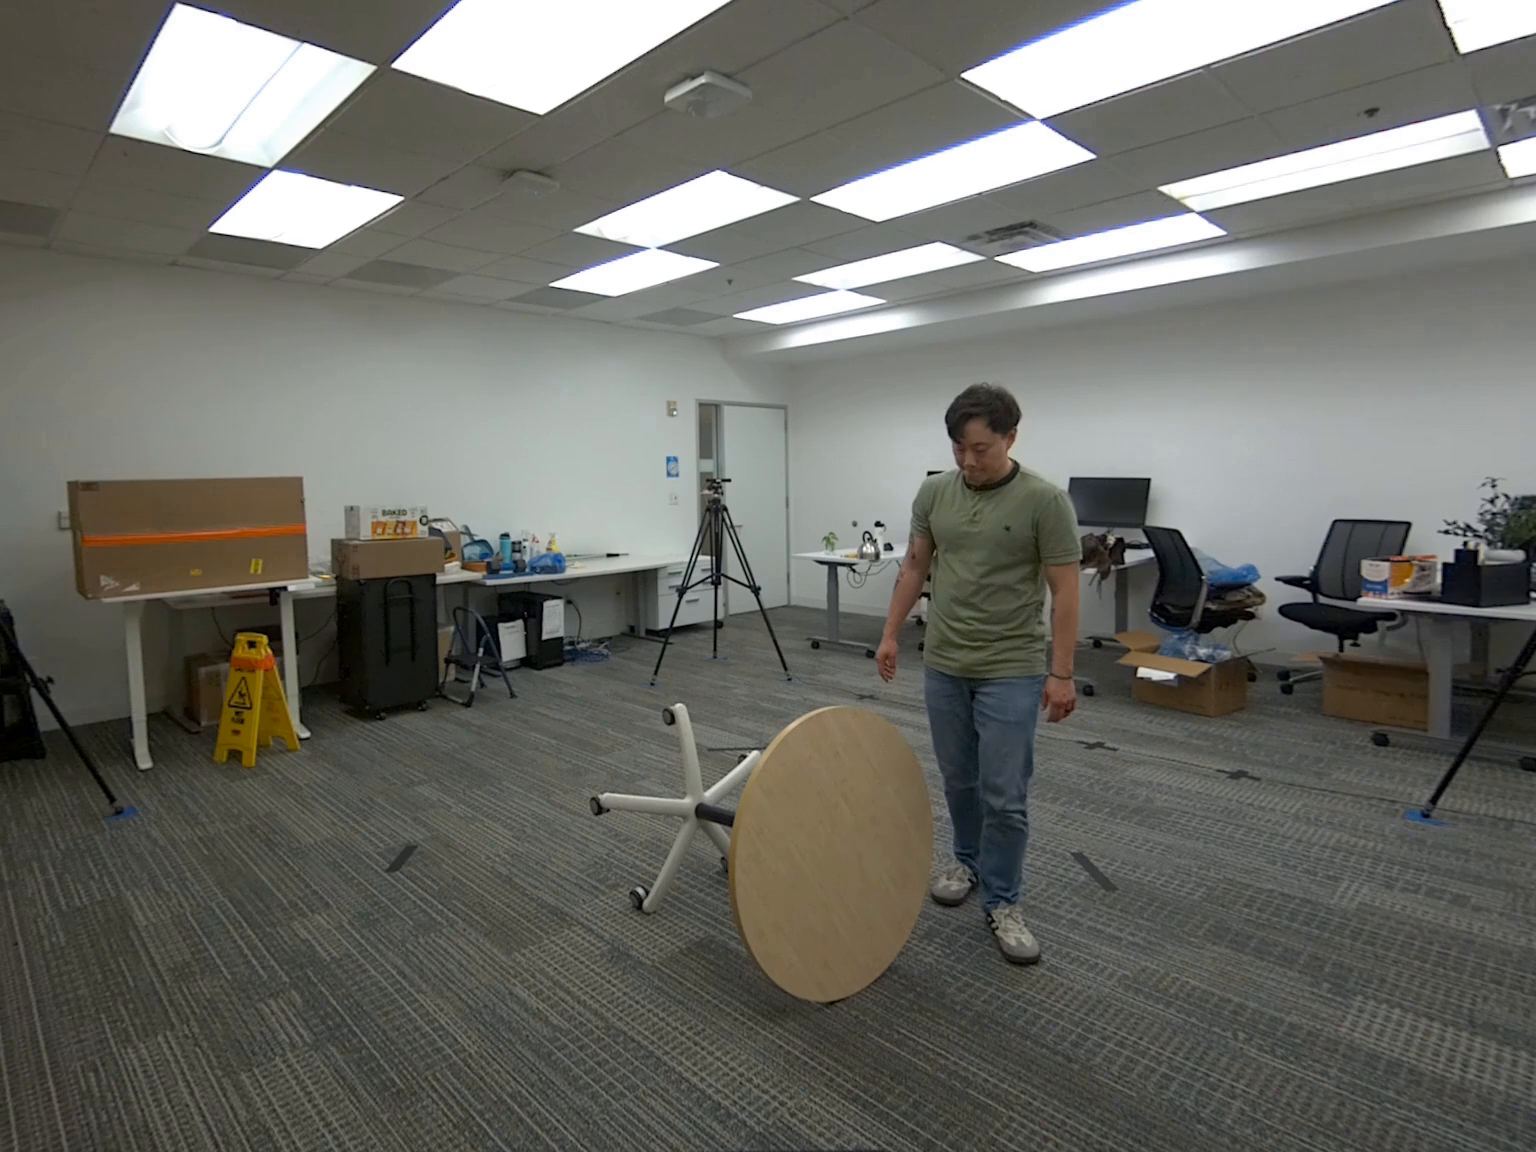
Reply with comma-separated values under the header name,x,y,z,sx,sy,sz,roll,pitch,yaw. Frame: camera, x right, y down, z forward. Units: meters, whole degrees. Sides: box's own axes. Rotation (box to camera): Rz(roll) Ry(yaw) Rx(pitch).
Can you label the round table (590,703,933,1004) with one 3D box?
name,x,y,z,sx,sy,sz,roll,pitch,yaw
round table,-0.048,0.766,2.650,0.744,0.765,0.814,-5,-1,-40
